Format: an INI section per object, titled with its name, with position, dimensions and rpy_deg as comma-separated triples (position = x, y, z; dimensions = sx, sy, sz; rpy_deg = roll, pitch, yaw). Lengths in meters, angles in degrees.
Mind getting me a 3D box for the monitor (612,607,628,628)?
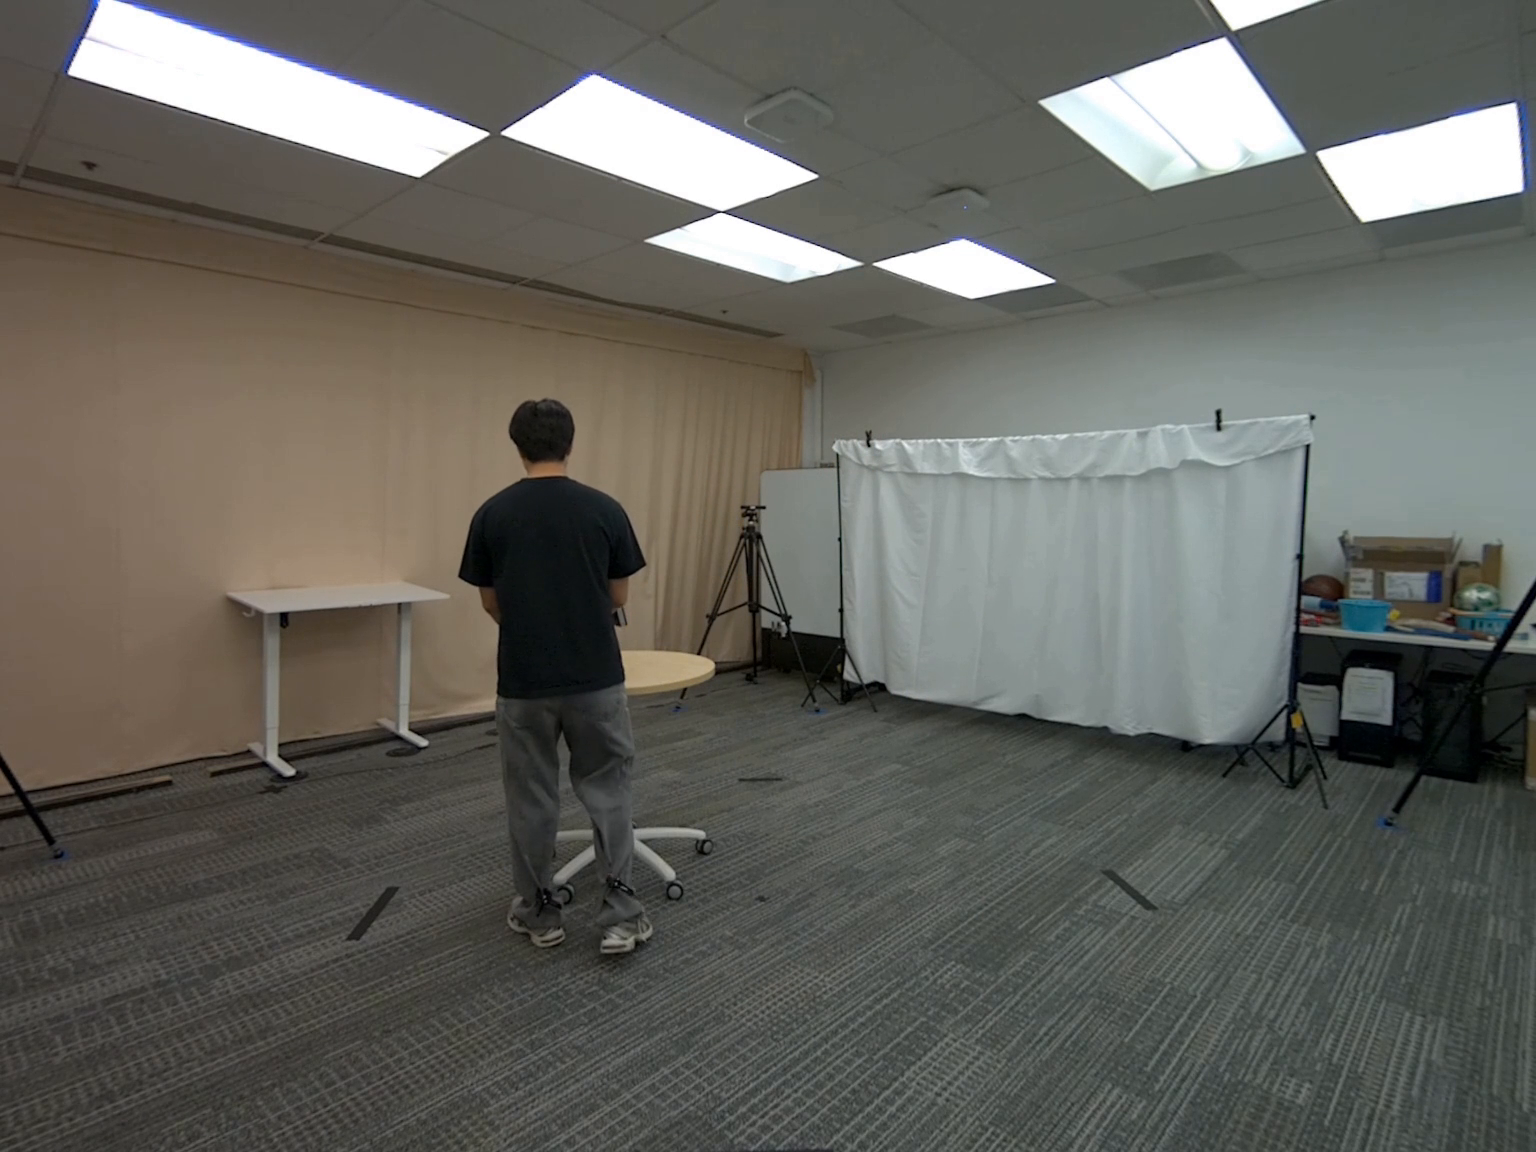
[monitor]
position = -0.735, 0.099, 3.174
dimensions = 0.216, 0.565, 0.579
rpy_deg = 0, 3, -33
